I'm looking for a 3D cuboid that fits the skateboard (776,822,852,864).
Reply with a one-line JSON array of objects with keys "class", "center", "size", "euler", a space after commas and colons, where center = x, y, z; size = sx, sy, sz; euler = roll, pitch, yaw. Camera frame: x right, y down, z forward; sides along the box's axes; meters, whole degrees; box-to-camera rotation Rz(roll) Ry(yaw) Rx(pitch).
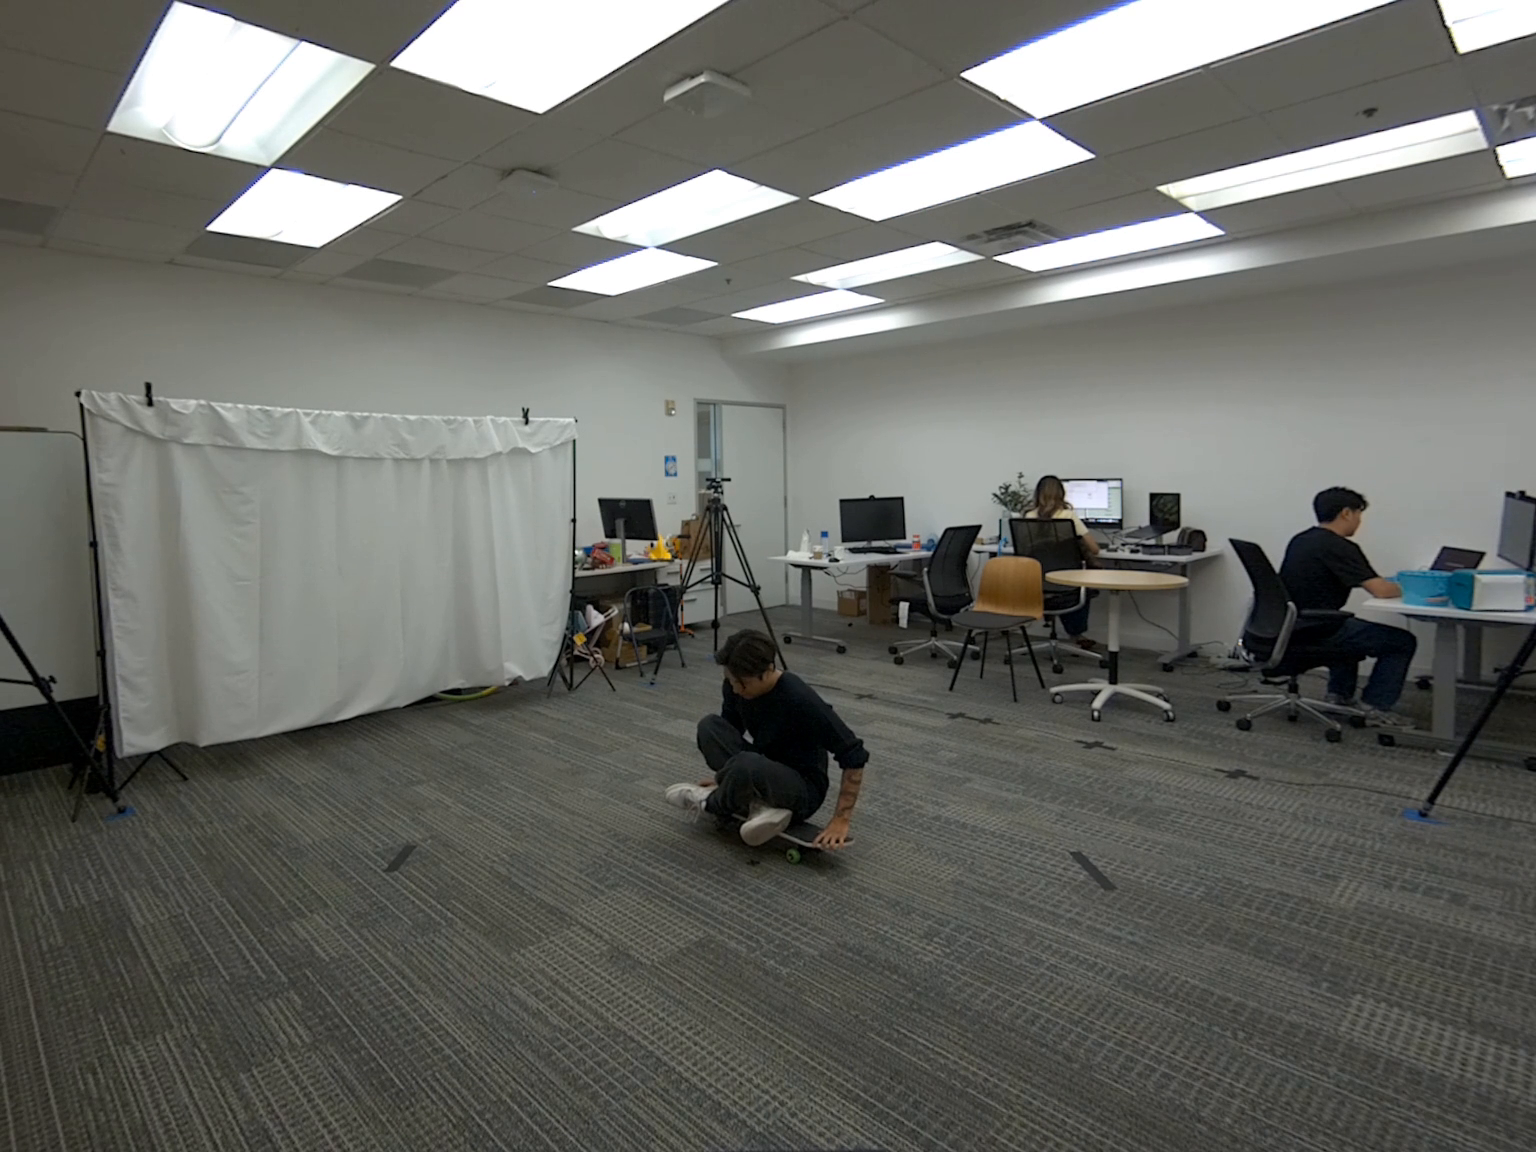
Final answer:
[{"class": "skateboard", "center": [-0.002, 0.977, 3.297], "size": [0.810, 0.110, 0.188], "euler": [5, 3, 41]}]
